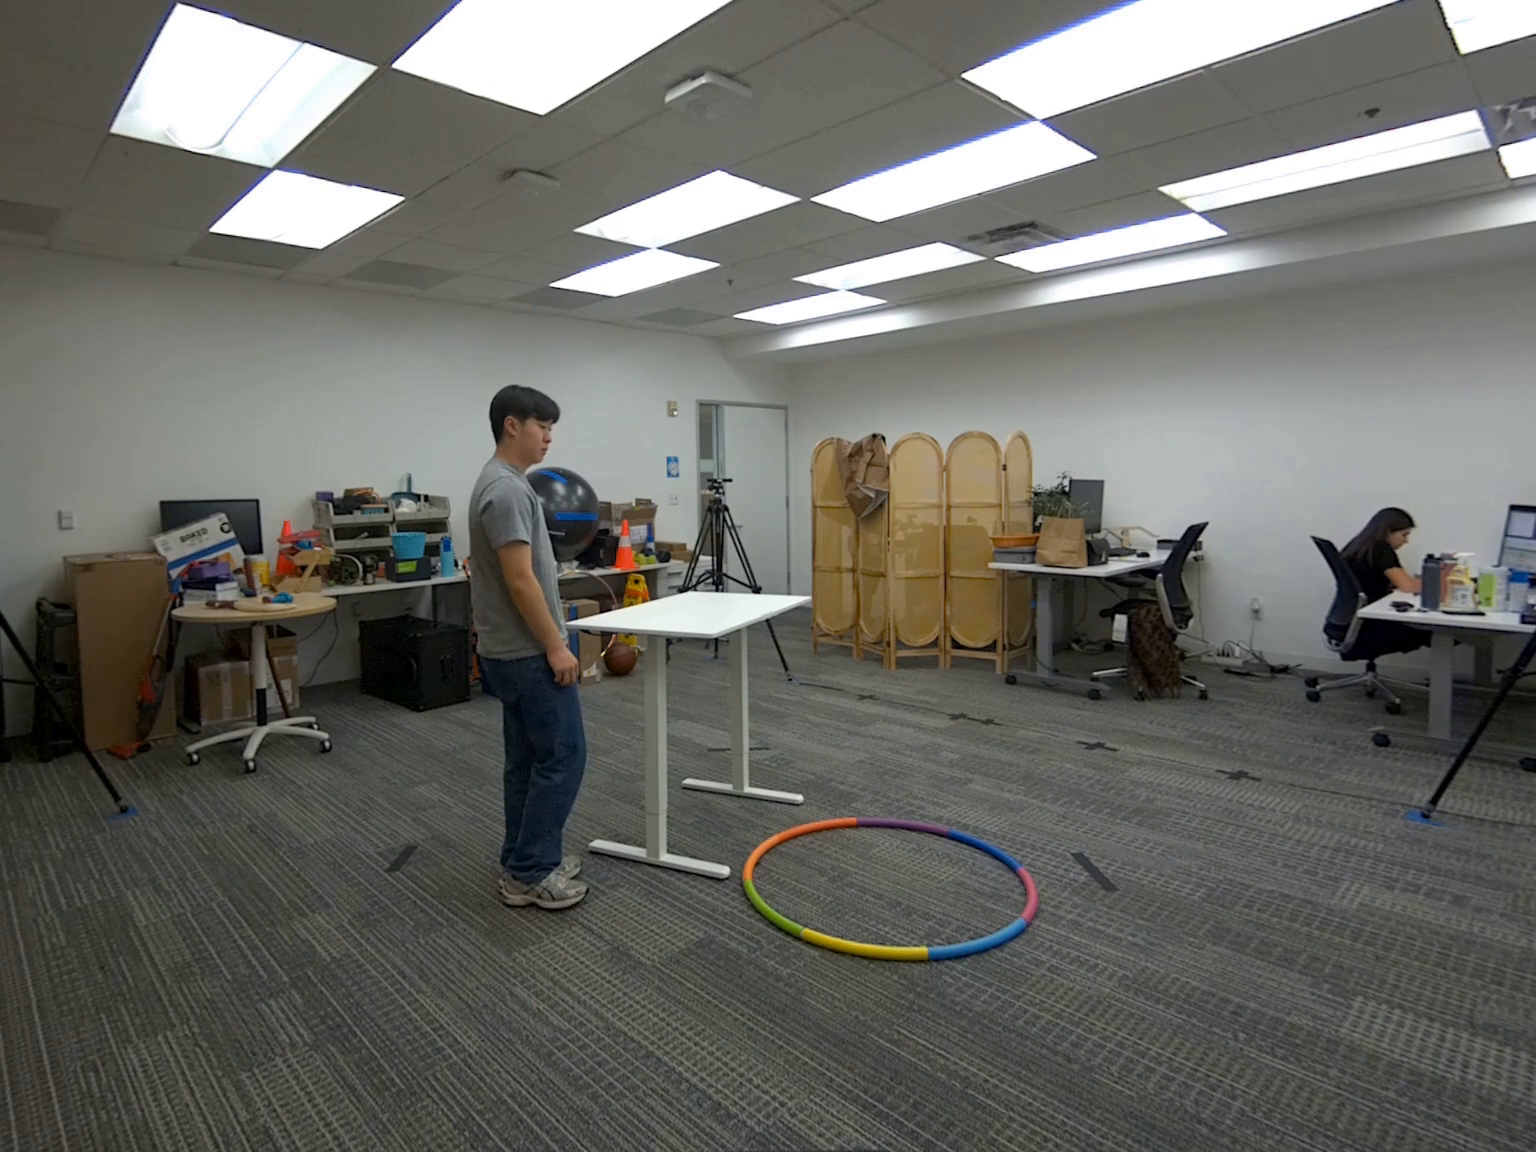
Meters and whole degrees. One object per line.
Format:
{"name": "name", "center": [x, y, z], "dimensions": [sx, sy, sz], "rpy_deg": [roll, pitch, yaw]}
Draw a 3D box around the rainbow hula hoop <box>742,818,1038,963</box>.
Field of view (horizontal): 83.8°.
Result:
{"name": "rainbow hula hoop", "center": [0.397, 1.027, 2.944], "dimensions": [0.978, 0.035, 0.984], "rpy_deg": [-2, 6, -2]}
